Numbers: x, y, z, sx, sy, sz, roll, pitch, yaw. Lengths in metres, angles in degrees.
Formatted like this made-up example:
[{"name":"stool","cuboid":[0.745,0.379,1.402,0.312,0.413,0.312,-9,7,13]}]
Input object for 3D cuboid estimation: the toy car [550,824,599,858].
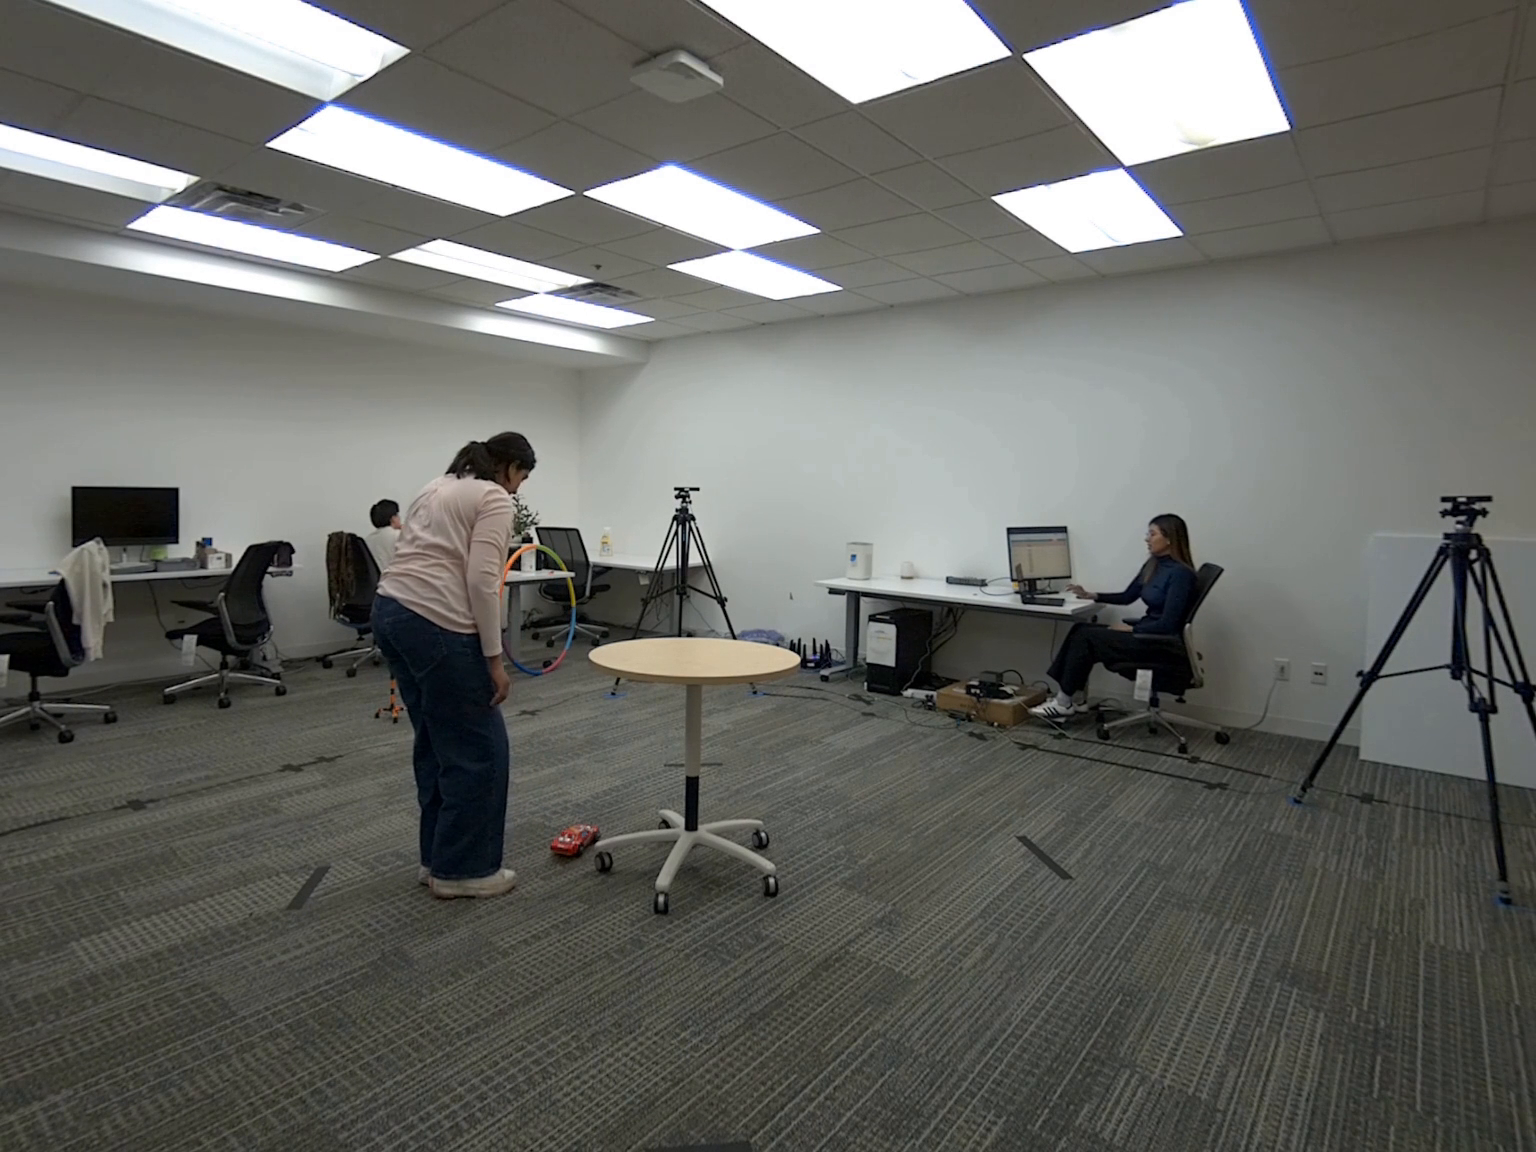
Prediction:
[{"name":"toy car","cuboid":[-0.748,1.009,3.258,0.132,0.084,0.249,3,-6,14]}]
